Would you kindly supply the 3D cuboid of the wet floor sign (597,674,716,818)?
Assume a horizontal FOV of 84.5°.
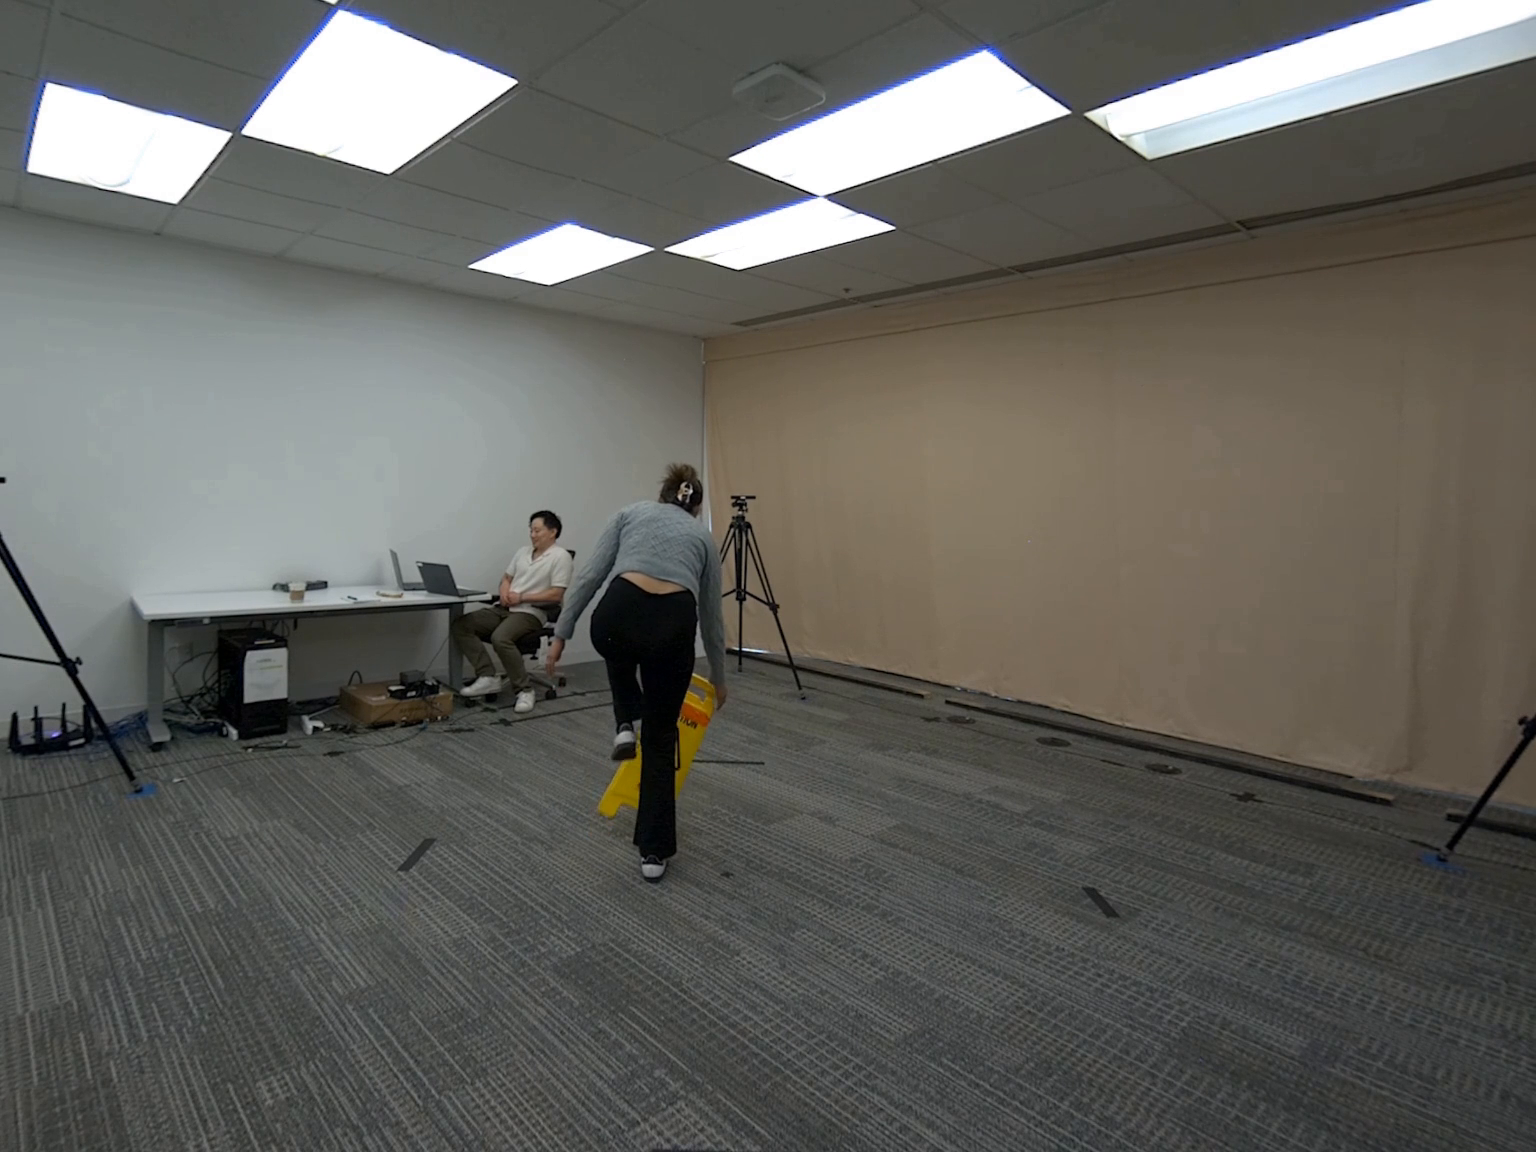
[{"bbox_3d":[-0.438,0.712,3.540,0.282,0.645,0.290,27,5,-1],"label":"wet floor sign"}]
